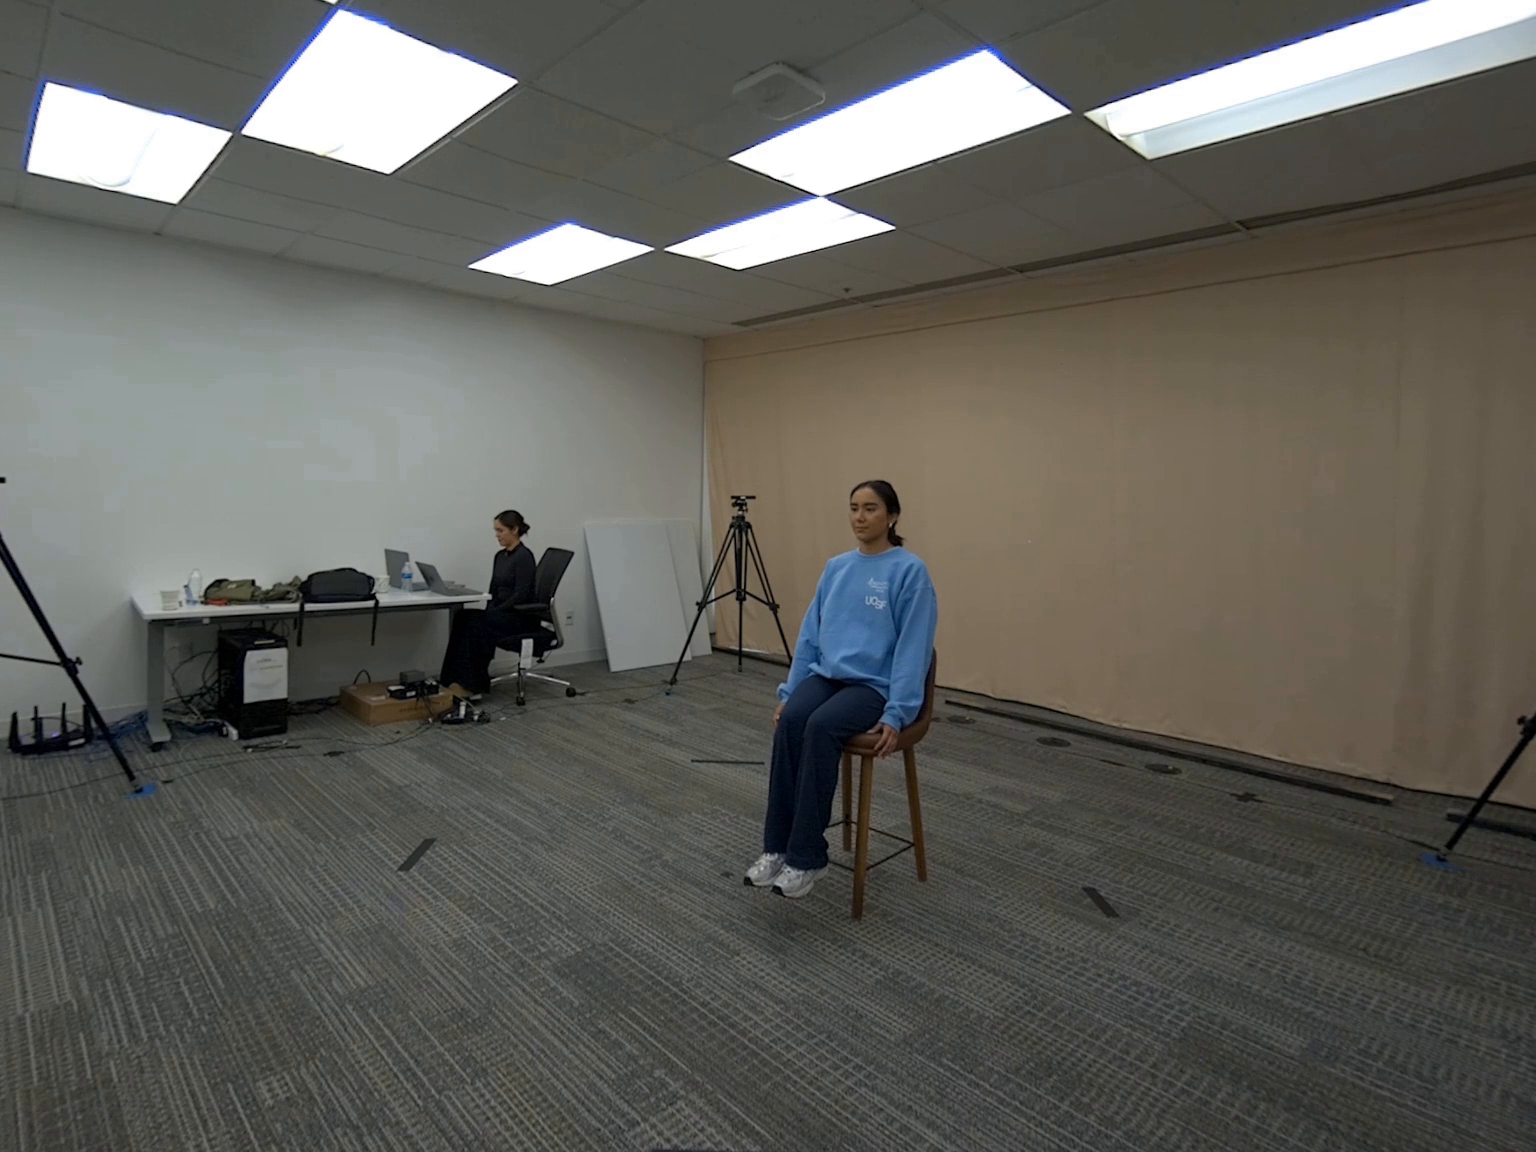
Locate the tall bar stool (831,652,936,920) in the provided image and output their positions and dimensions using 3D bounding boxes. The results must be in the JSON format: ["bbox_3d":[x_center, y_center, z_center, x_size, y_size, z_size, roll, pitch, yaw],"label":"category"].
[{"bbox_3d":[0.321,0.682,3.059,0.468,0.888,0.456,5,3,44],"label":"tall bar stool"}]
